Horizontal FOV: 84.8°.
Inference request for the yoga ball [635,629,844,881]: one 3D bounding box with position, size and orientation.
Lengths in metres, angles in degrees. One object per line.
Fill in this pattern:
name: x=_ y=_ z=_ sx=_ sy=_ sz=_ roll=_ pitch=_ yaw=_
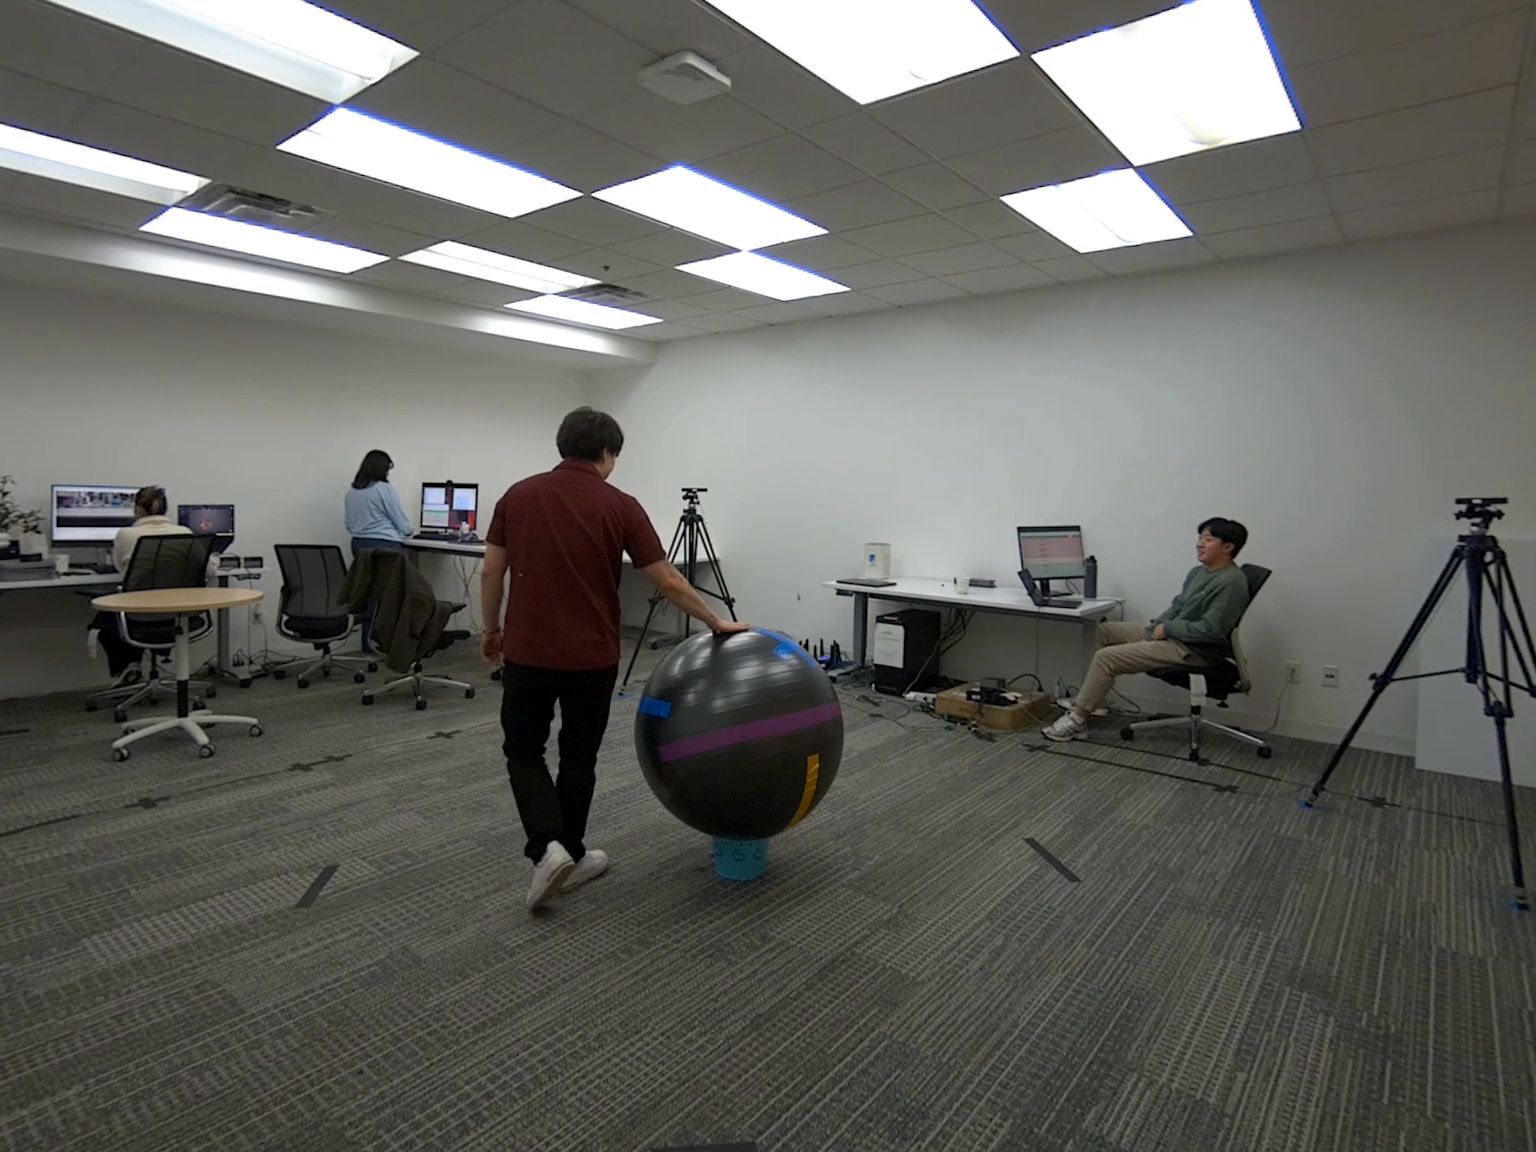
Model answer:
yoga ball: x=-0.115 y=0.564 z=3.102 sx=0.757 sy=0.755 sz=0.762 roll=1 pitch=4 yaw=-2
